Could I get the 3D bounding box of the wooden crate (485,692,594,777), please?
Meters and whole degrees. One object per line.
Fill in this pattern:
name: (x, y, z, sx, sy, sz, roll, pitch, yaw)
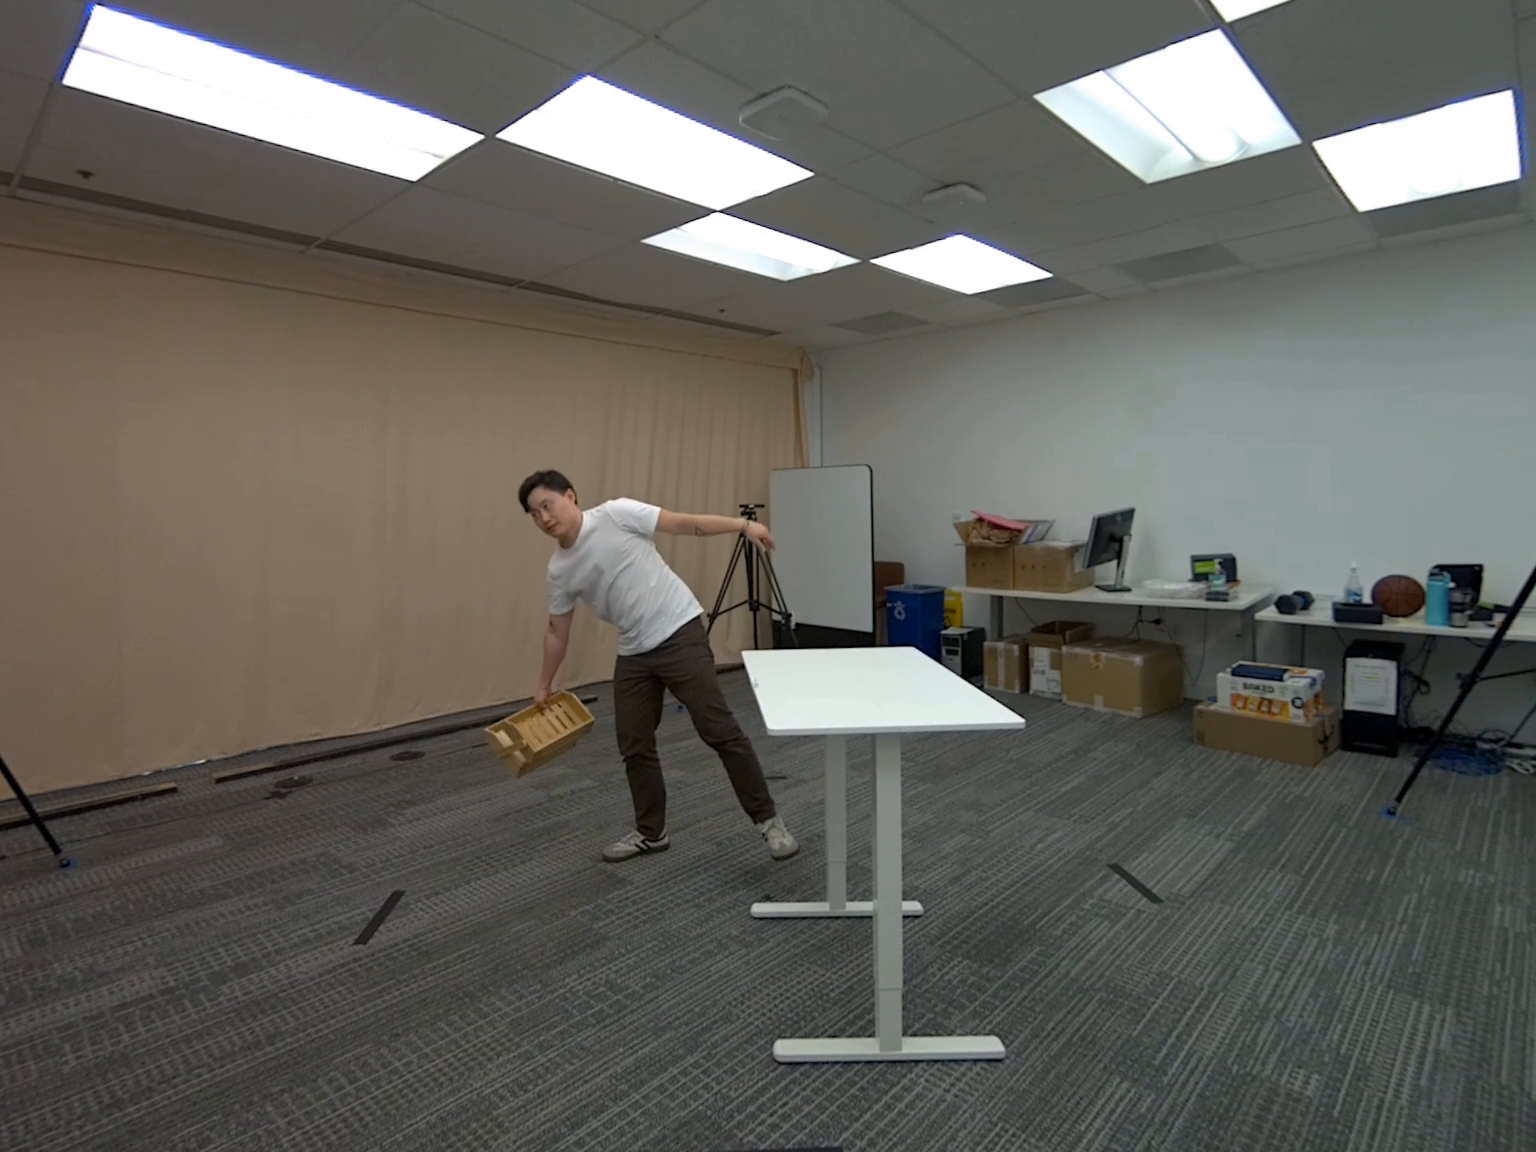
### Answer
wooden crate: (-0.956, 0.626, 3.487, 0.310, 0.272, 0.317, 43, 41, 22)
